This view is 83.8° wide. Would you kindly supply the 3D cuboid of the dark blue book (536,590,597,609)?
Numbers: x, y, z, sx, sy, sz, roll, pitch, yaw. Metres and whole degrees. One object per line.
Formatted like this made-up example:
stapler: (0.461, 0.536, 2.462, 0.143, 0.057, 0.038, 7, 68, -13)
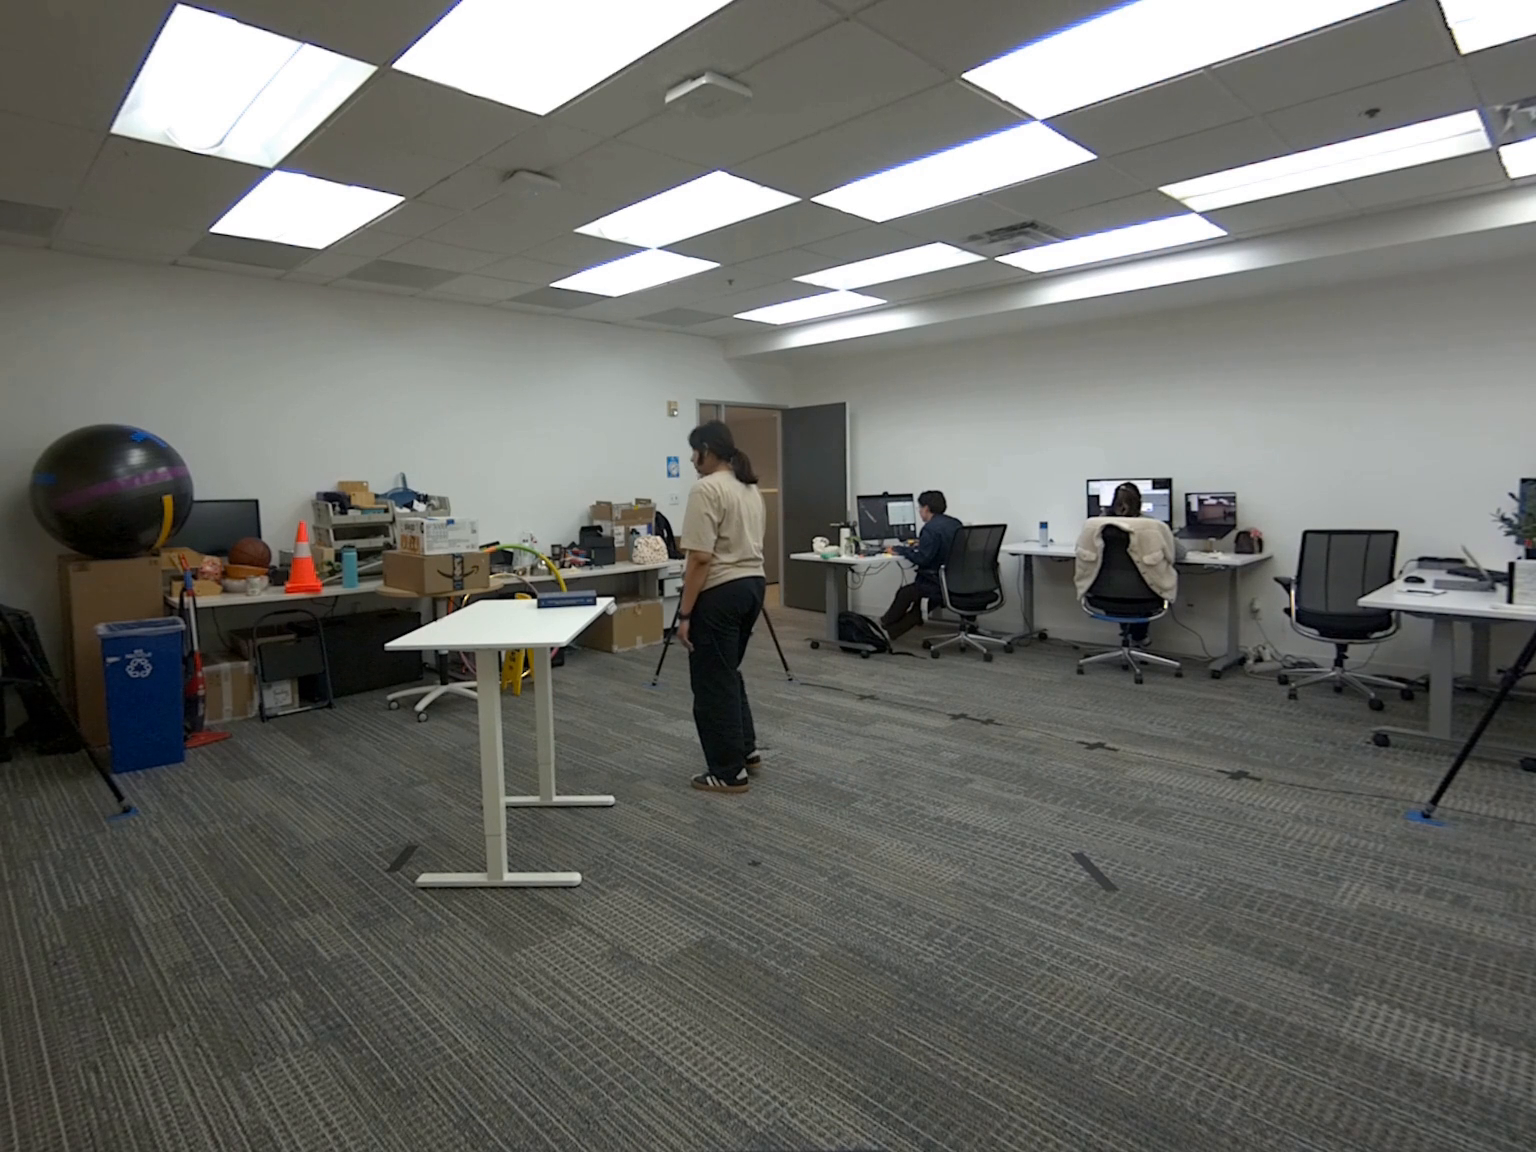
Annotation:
dark blue book: (-0.856, 0.099, 3.610, 0.242, 0.045, 0.166, -4, 7, -12)
